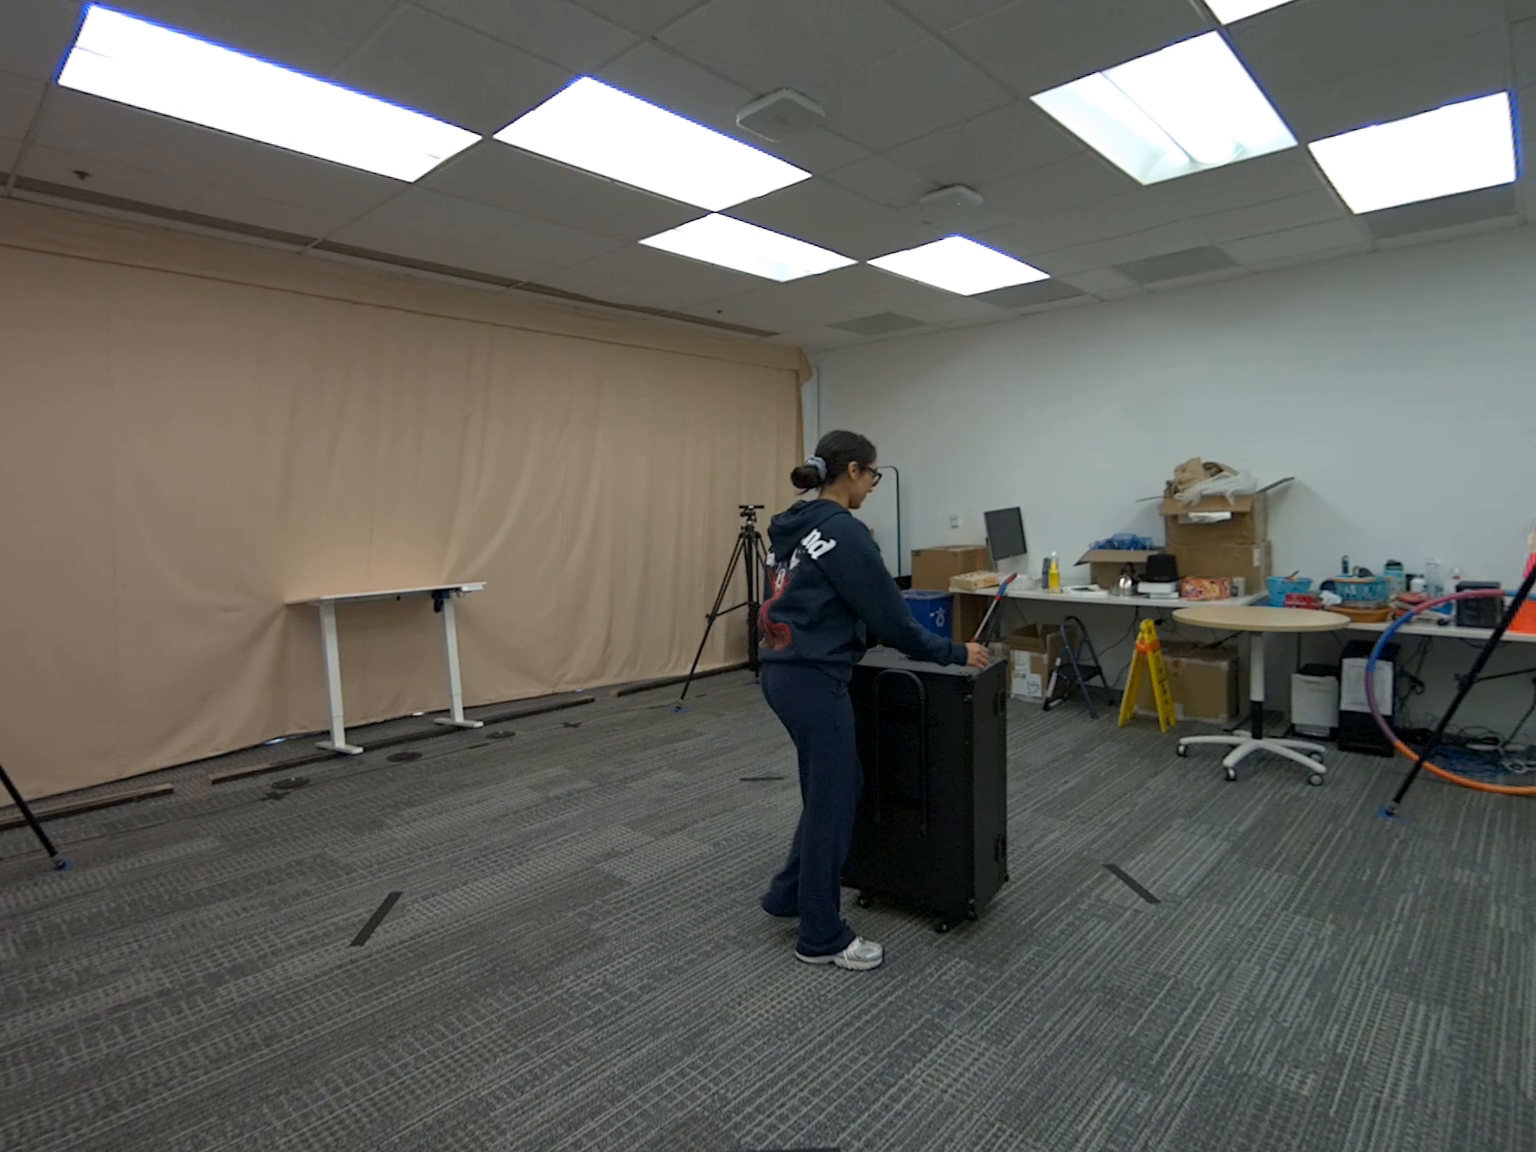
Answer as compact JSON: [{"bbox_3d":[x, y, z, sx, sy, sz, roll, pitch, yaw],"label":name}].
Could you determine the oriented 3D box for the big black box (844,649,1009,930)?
[{"bbox_3d":[0.536,0.711,2.895,0.537,0.859,0.385,1,5,33],"label":"big black box"}]
